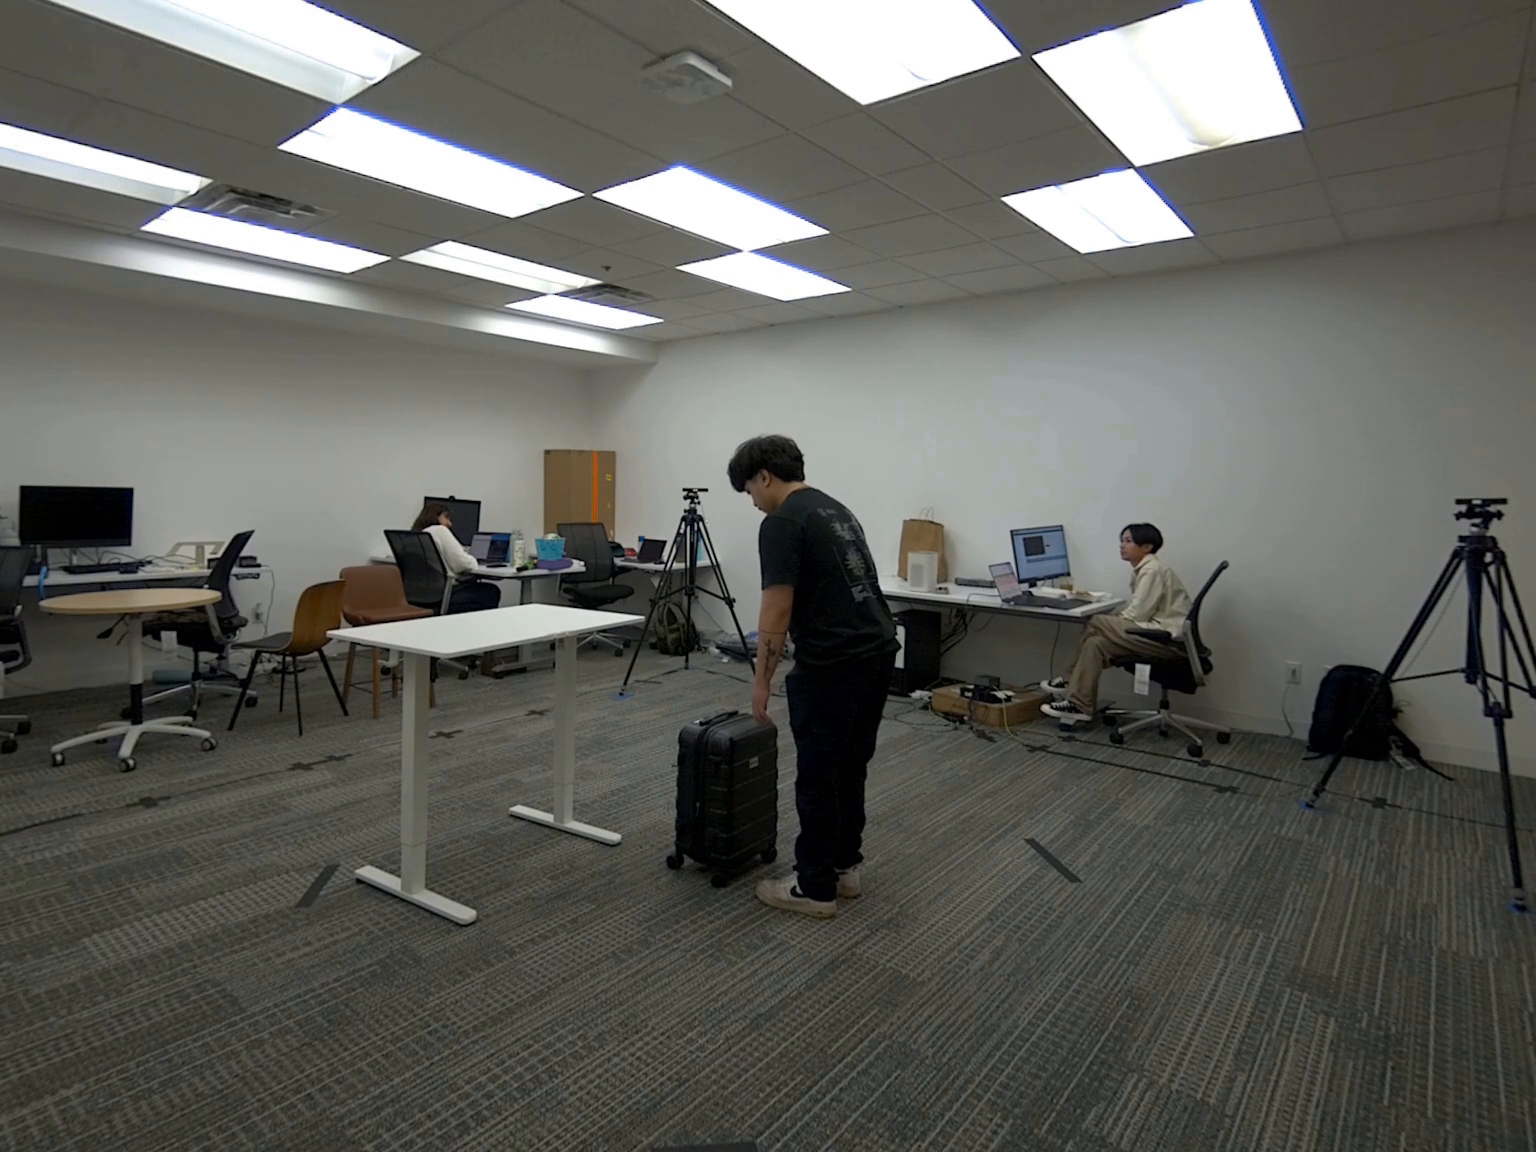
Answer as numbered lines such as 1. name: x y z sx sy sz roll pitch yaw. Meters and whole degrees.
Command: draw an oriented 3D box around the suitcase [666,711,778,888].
1. suitcase: -0.159 0.795 3.149 0.256 0.548 0.364 3 4 36
